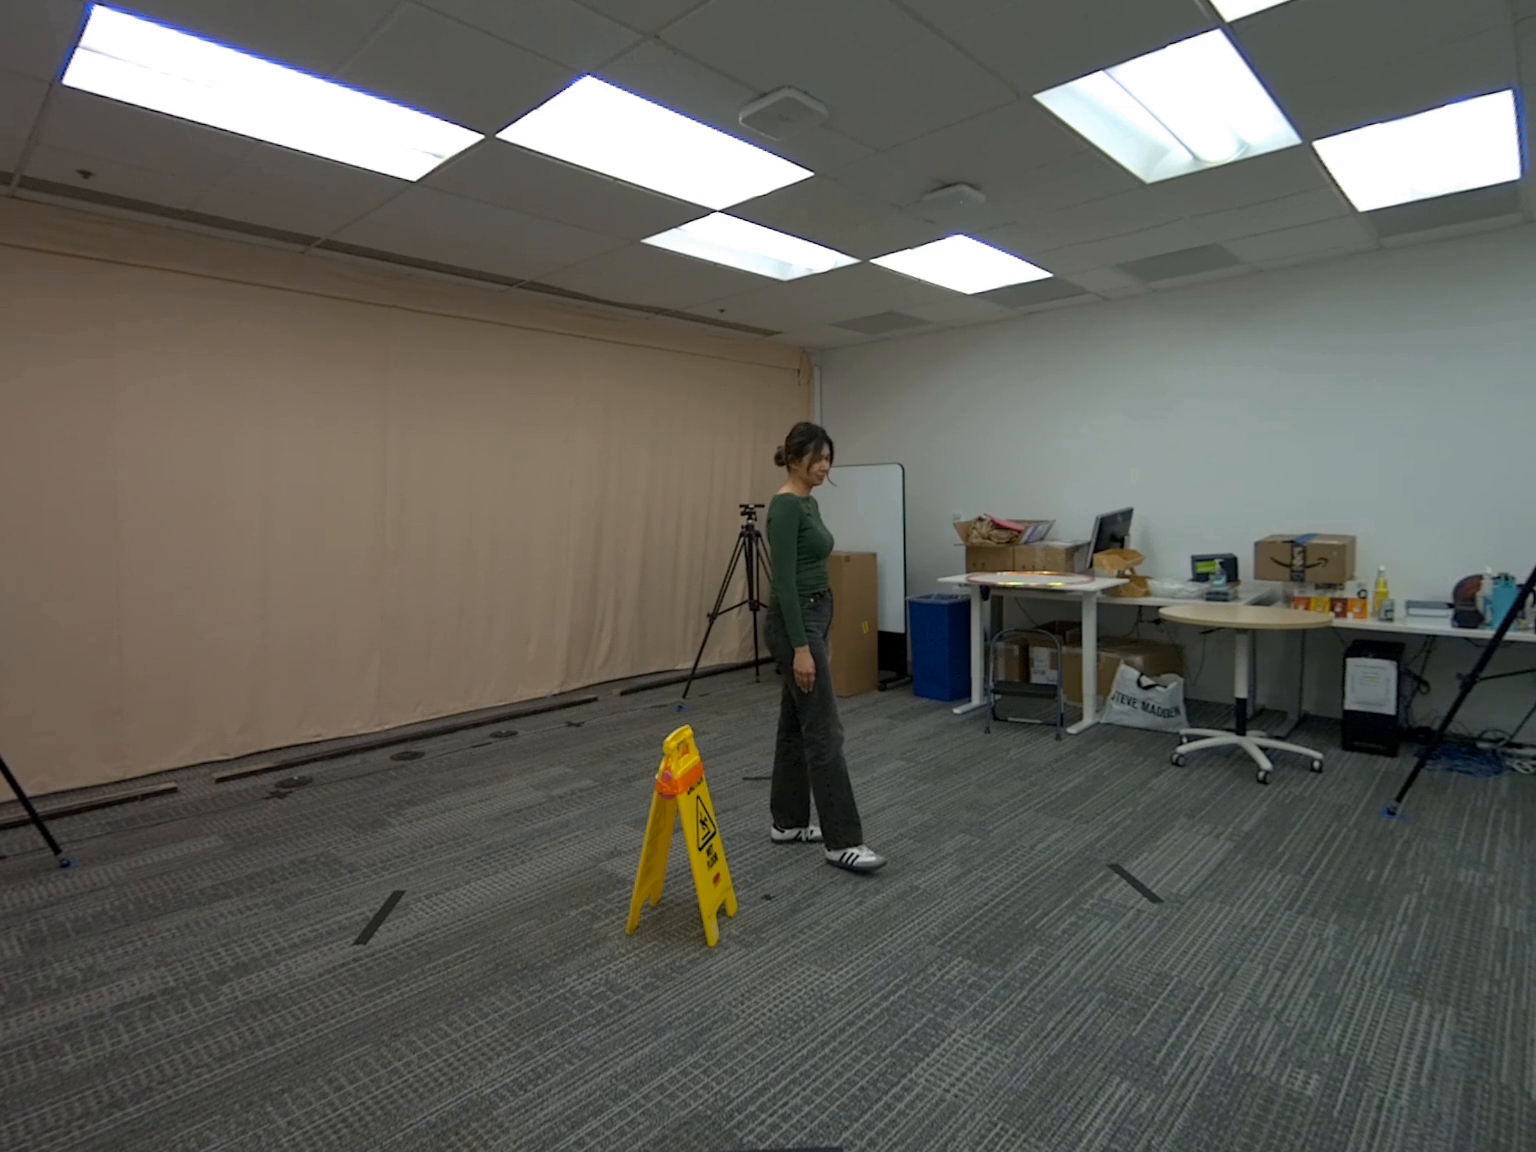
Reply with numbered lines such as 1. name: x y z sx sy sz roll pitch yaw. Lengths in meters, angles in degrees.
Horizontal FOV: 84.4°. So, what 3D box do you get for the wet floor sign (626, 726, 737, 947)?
1. wet floor sign: -0.287 0.838 2.802 0.295 0.644 0.278 0 4 17
